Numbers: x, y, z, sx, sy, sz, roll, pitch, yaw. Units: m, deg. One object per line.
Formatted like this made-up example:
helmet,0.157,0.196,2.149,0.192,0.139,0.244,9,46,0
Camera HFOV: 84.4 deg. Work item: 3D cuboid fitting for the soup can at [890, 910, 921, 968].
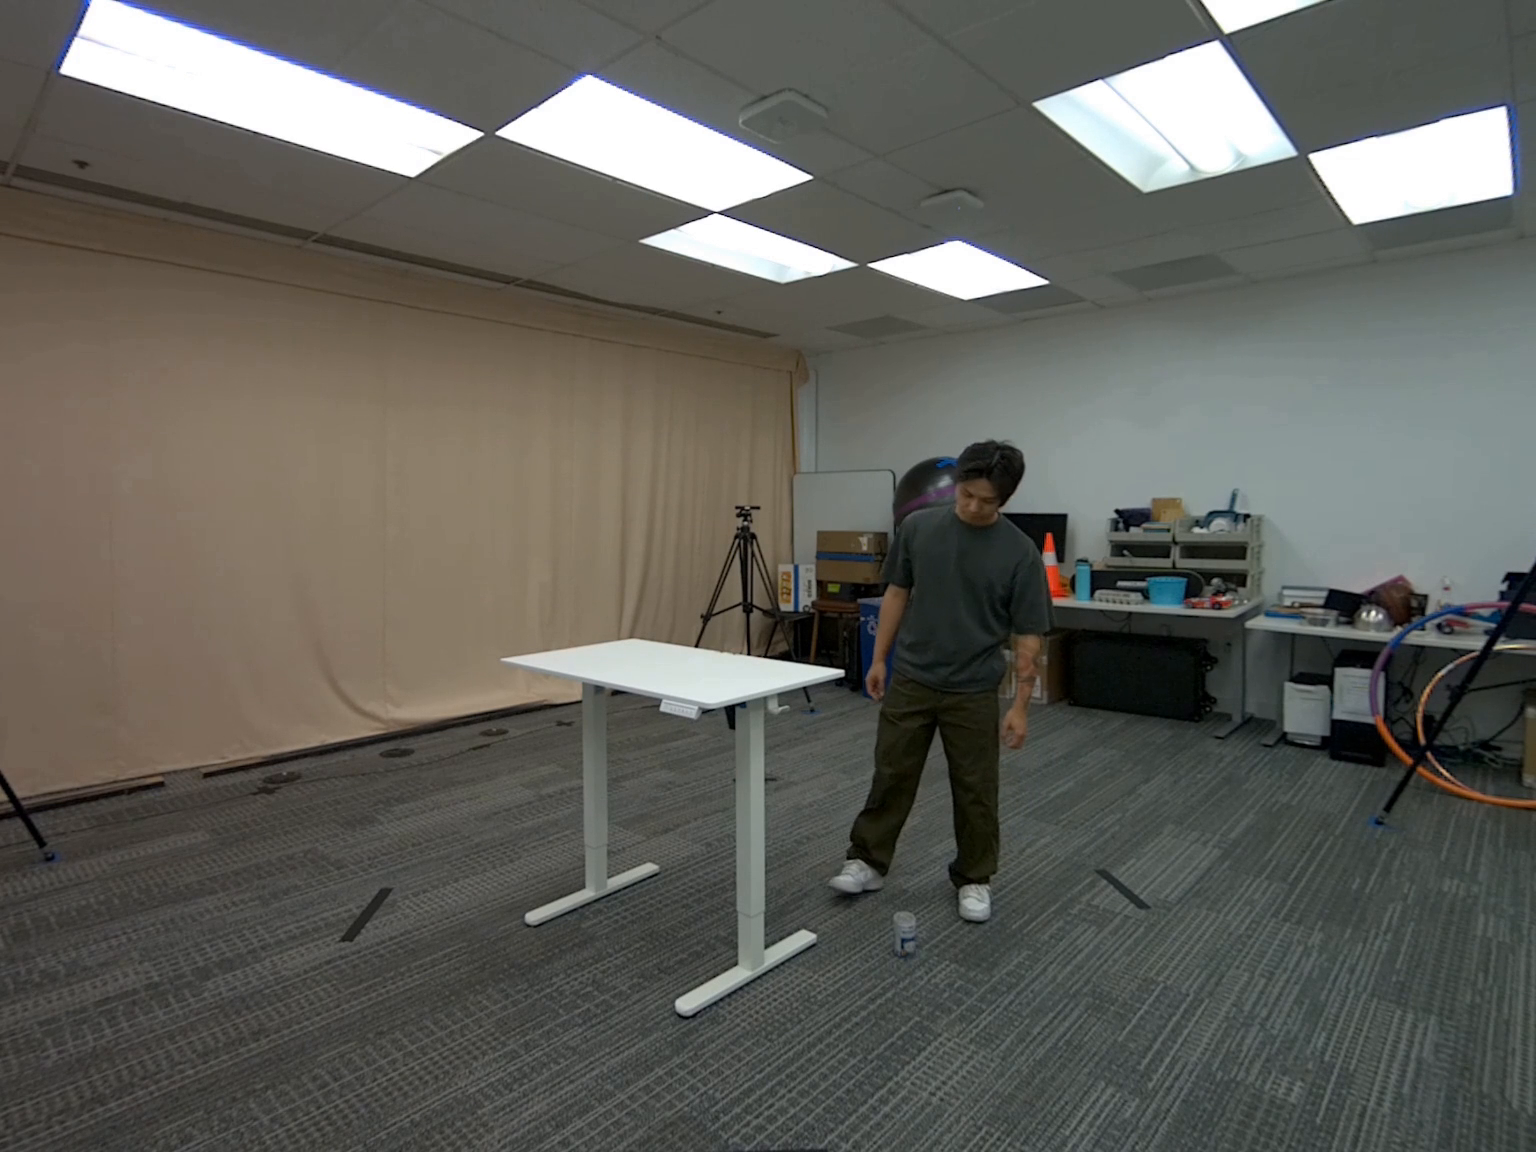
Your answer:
soup can,0.424,1.107,2.614,0.067,0.121,0.067,-1,5,-2
